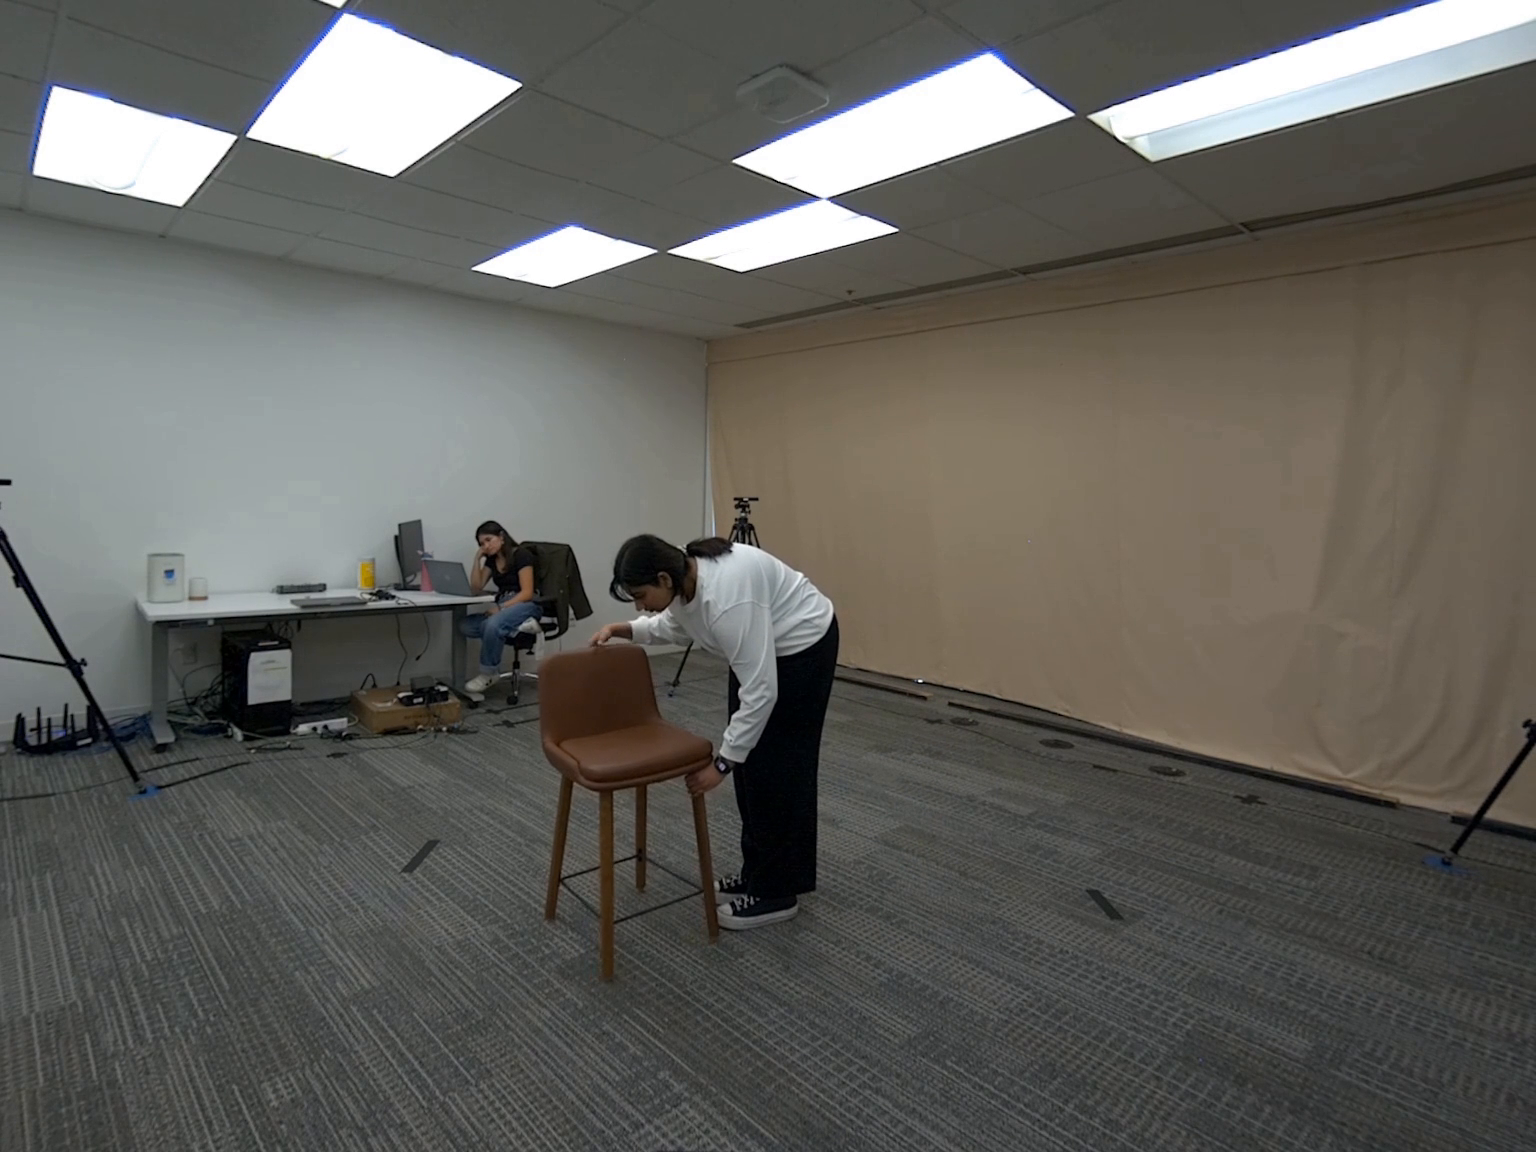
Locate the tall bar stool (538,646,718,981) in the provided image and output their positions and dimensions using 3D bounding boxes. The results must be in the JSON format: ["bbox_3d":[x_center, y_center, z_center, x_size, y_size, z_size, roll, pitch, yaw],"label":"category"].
[{"bbox_3d":[-0.466,0.700,2.676,0.446,0.888,0.478,-4,3,-39],"label":"tall bar stool"}]
